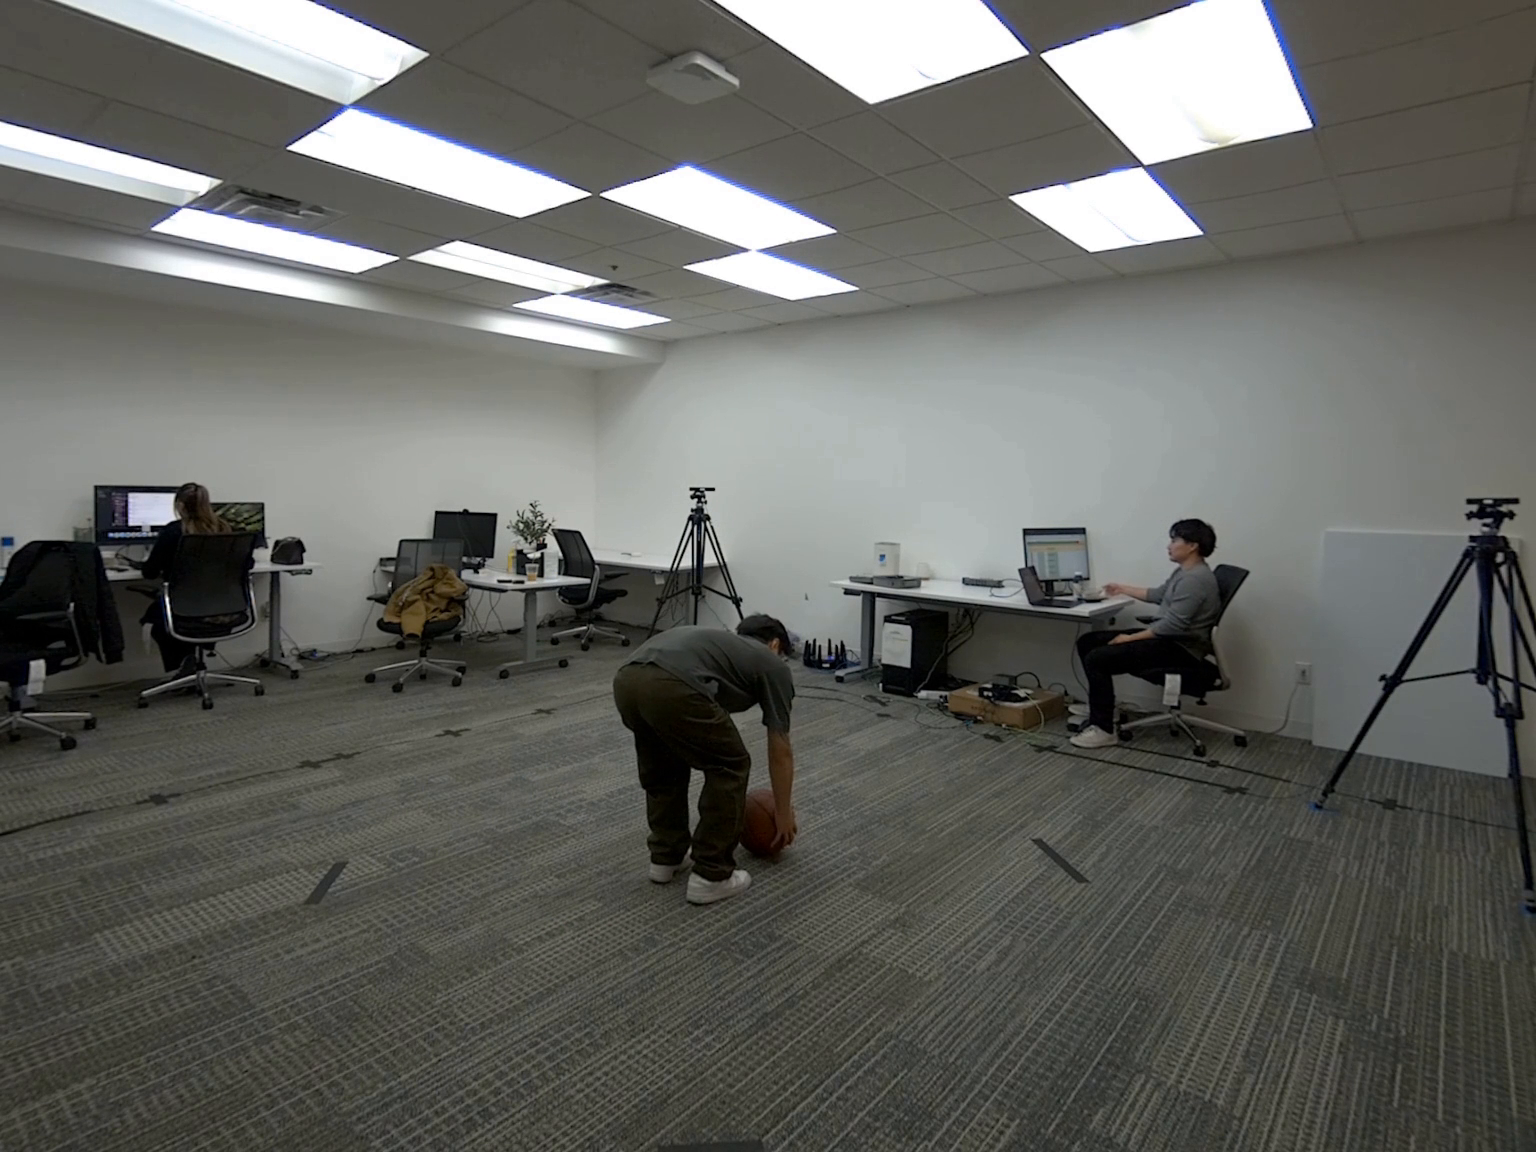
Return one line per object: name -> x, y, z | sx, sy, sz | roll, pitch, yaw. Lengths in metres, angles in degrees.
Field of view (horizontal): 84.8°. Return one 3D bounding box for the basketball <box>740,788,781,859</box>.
basketball -> -0.030, 0.926, 3.248 | 0.235, 0.235, 0.237 | 1, 4, -2
